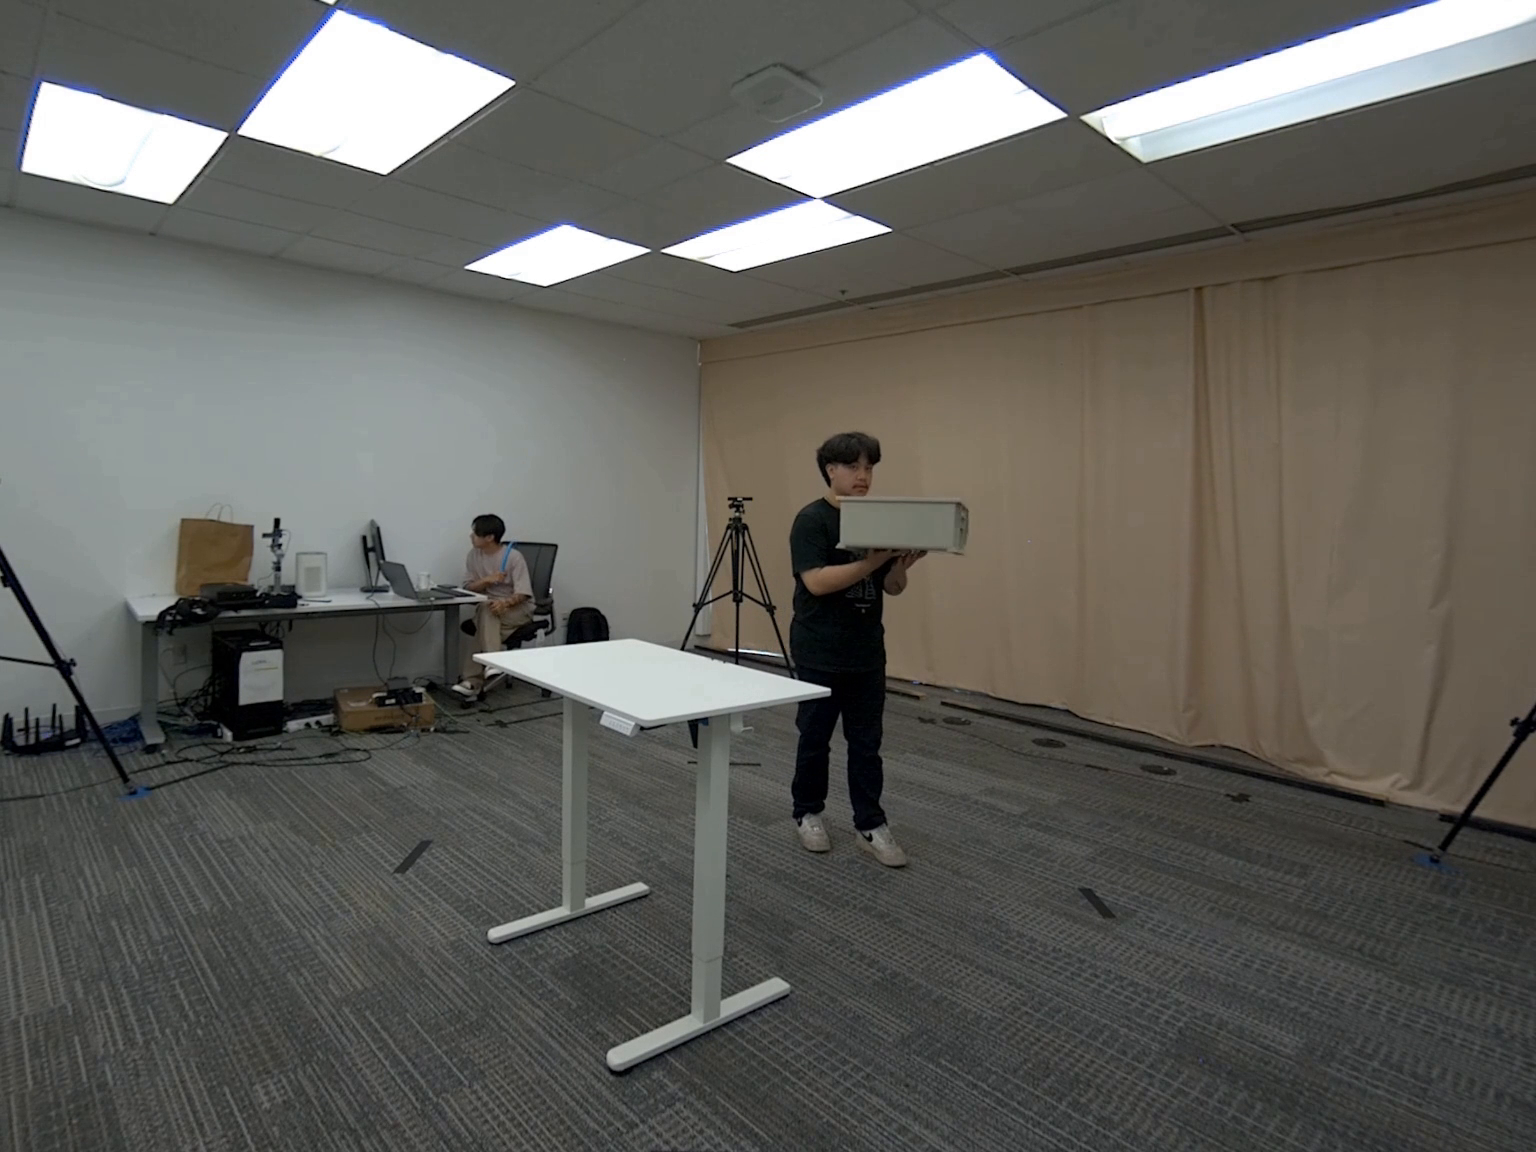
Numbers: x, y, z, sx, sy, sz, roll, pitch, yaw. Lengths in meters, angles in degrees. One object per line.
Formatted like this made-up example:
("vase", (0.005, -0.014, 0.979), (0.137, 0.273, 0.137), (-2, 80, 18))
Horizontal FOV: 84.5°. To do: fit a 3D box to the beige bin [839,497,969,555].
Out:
("beige bin", (0.482, -0.172, 3.025), (0.429, 0.189, 0.371), (3, 1, 19))
